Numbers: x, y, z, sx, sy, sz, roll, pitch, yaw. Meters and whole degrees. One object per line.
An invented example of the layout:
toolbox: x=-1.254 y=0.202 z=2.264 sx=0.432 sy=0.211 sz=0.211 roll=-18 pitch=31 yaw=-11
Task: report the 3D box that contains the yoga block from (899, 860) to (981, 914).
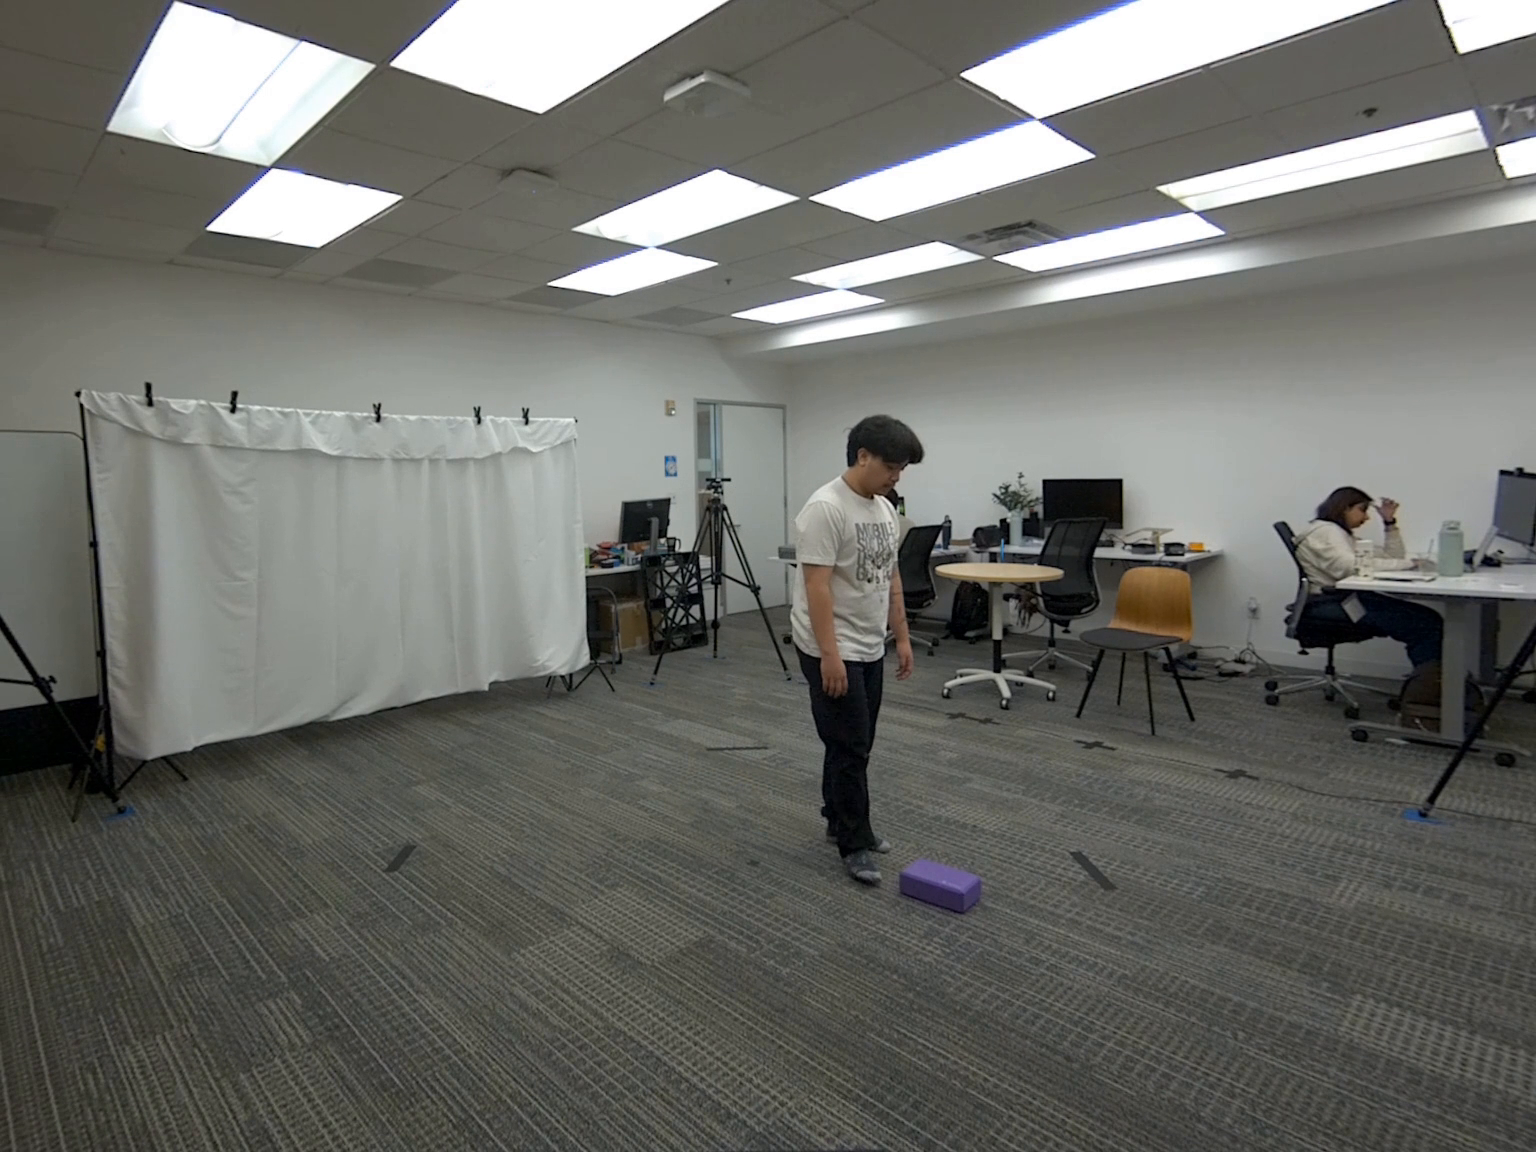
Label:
yoga block: x=0.573 y=1.024 z=2.833 sx=0.236 sy=0.076 sz=0.145 roll=4 pitch=7 yaw=38
